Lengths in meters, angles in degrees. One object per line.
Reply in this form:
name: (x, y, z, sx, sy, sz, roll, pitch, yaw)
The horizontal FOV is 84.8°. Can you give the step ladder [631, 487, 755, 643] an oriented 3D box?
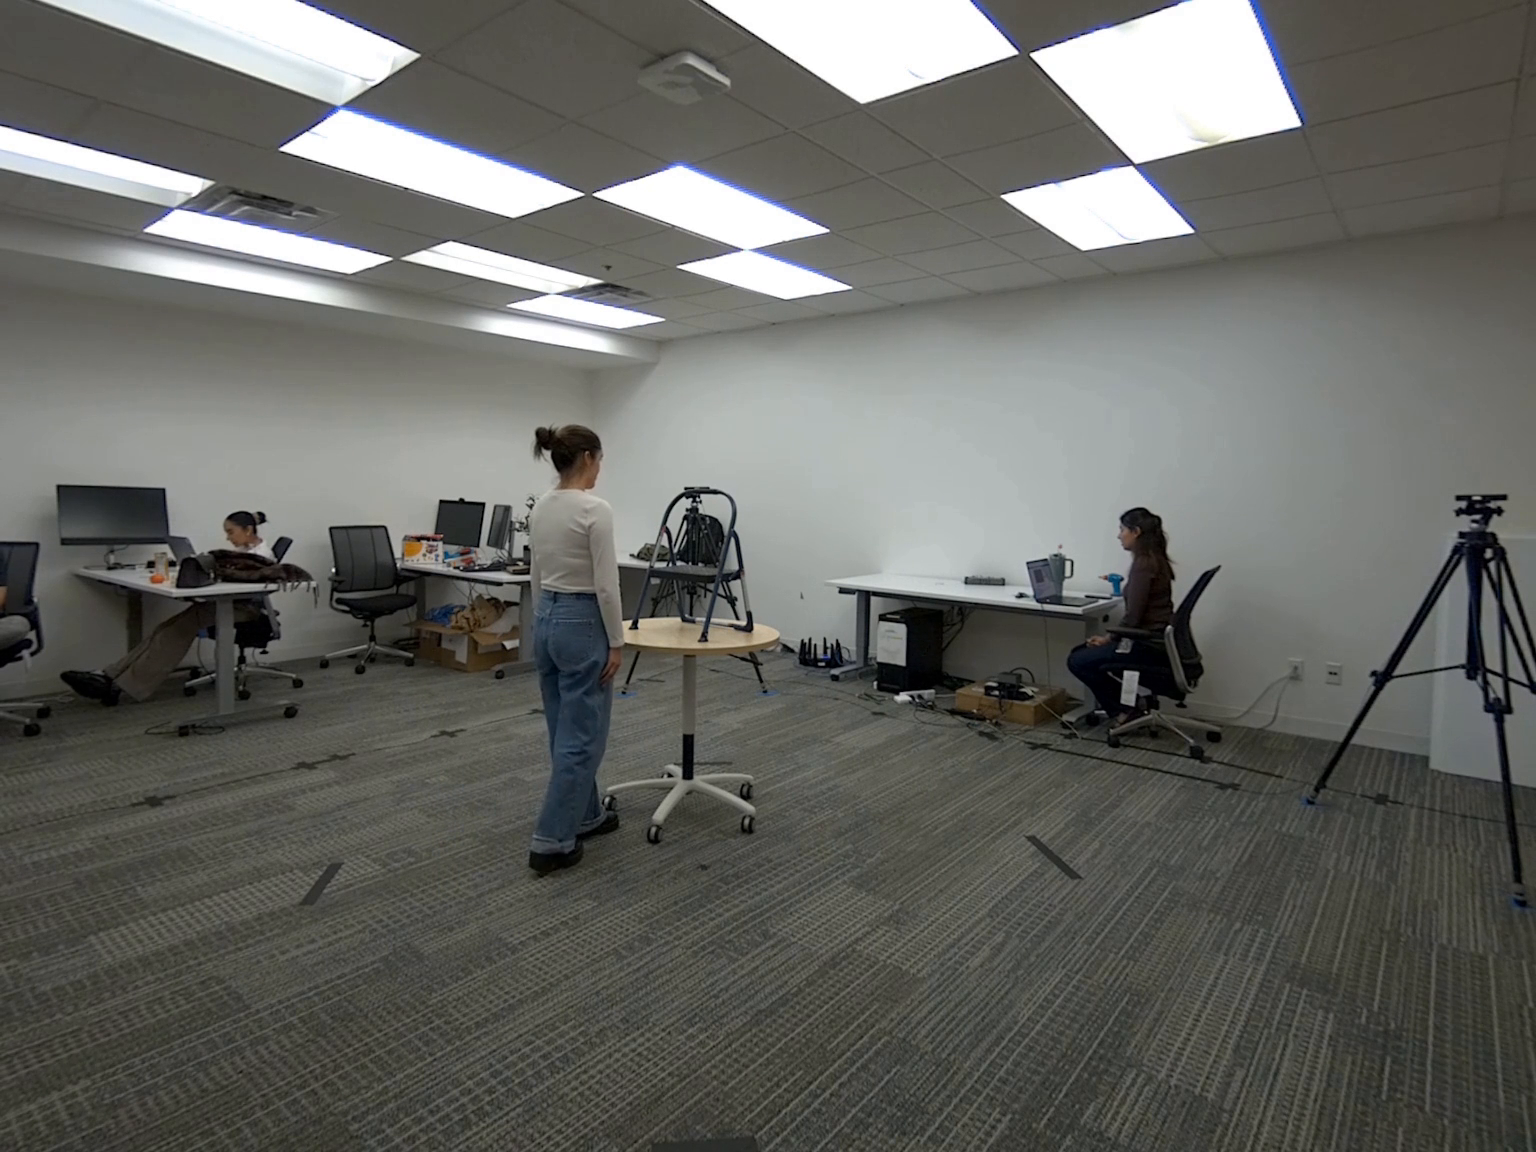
step ladder: (-0.326, -0.071, 3.629, 0.445, 0.604, 0.339, 5, 6, 37)
